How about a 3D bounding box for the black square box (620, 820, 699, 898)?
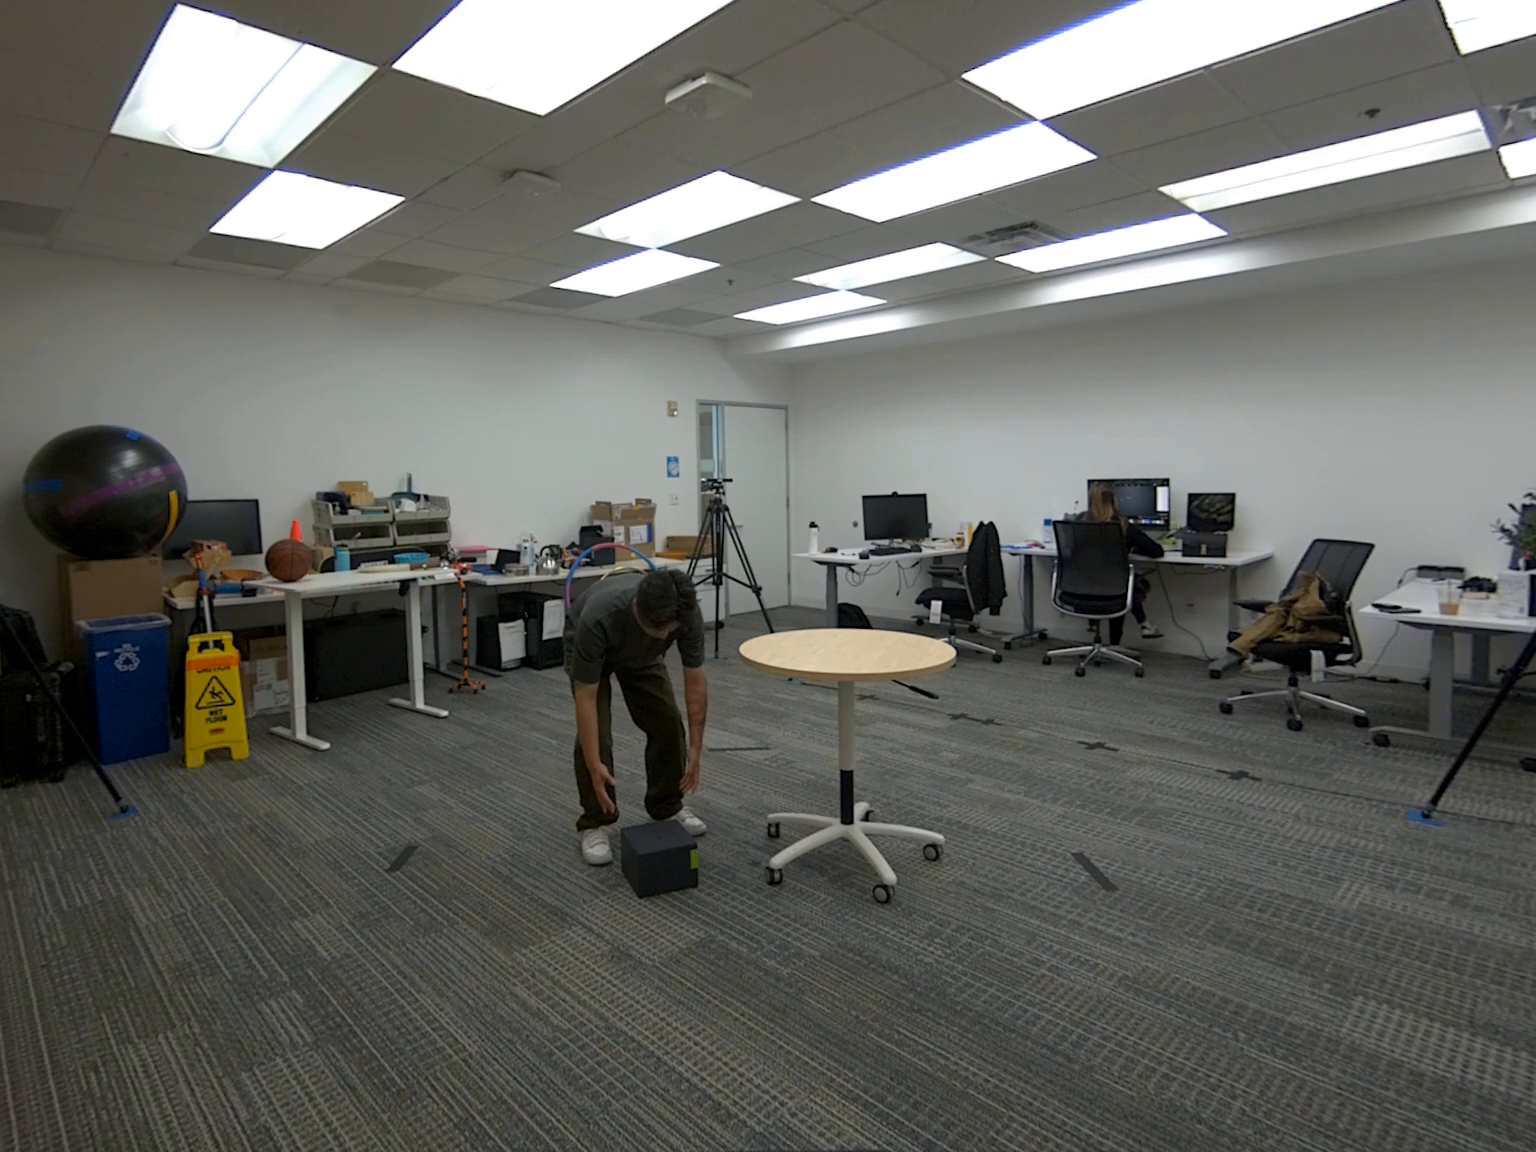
[{"bbox_3d":[-0.381,0.981,2.989,0.212,0.155,0.234,-3,7,-24],"label":"black square box"}]
